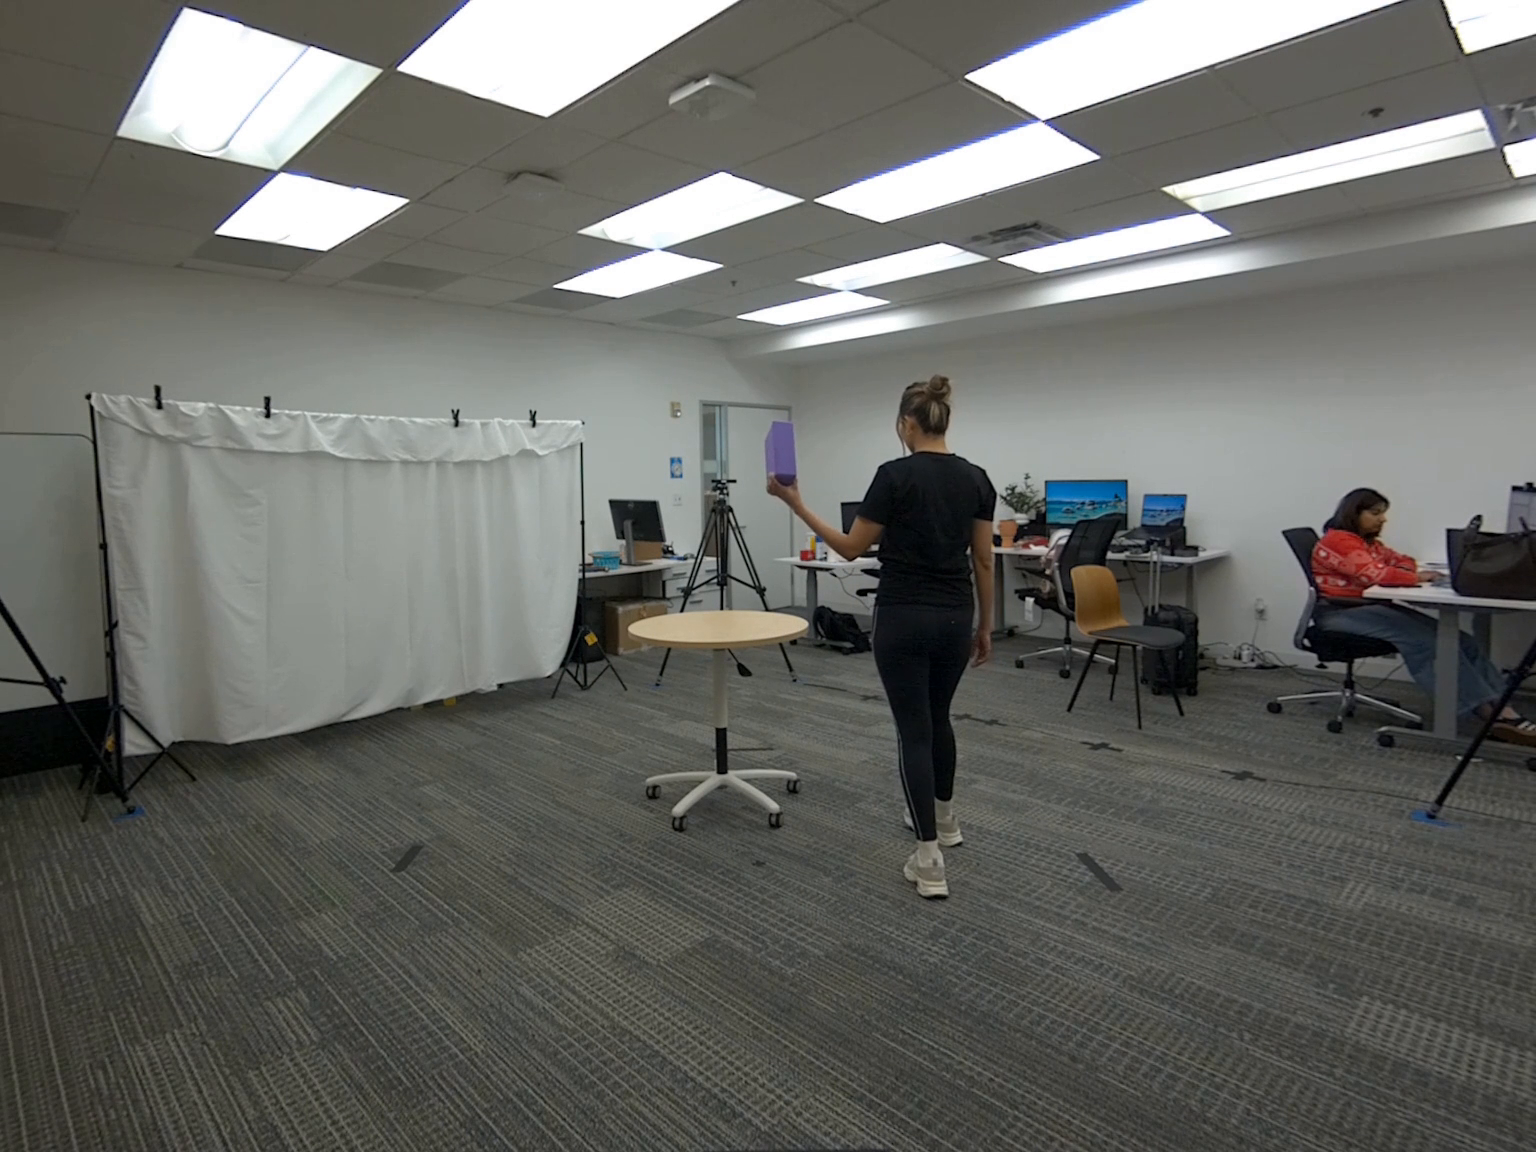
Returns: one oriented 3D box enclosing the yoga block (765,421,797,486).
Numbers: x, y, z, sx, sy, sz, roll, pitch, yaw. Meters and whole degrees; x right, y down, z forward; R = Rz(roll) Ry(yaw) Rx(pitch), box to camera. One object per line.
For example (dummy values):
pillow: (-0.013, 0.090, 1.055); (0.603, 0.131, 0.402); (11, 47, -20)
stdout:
yoga block: (0.047, -0.425, 3.078); (0.075, 0.234, 0.147); (3, -24, -11)
